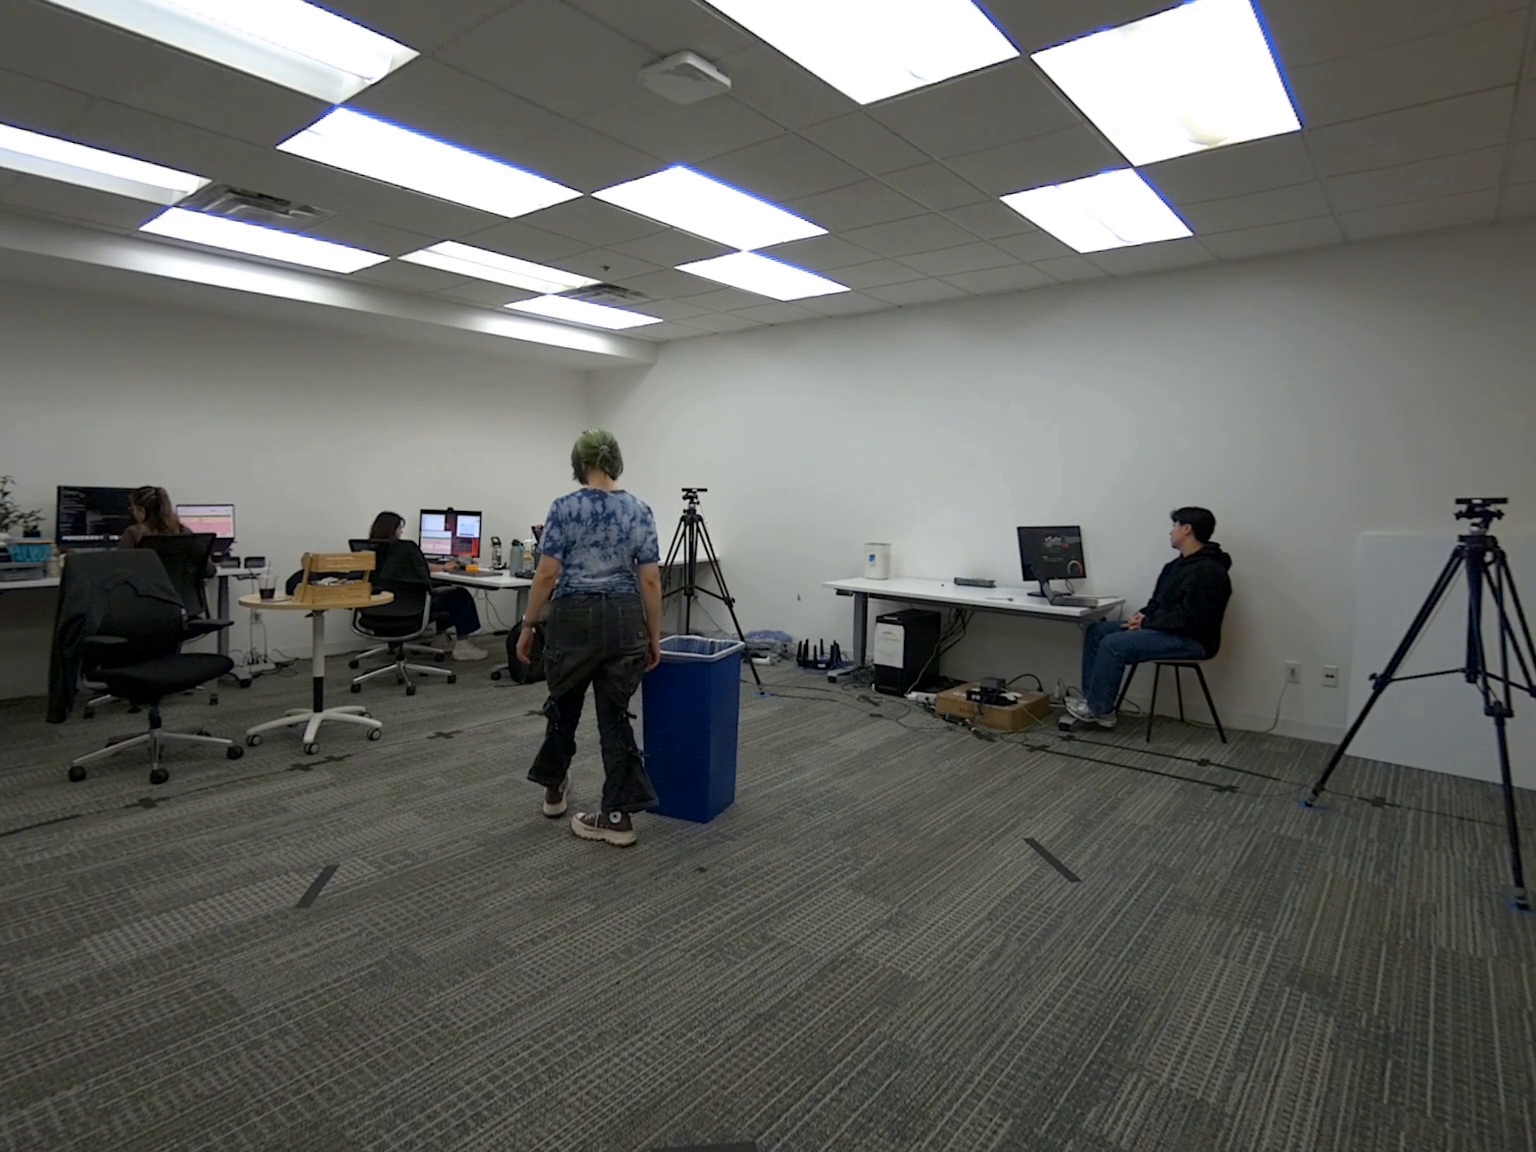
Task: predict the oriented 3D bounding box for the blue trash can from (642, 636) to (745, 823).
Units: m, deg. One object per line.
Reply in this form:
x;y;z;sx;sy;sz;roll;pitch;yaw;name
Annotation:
-0.342;0.653;3.709;0.387;0.712;0.366;2;3;22;blue trash can
